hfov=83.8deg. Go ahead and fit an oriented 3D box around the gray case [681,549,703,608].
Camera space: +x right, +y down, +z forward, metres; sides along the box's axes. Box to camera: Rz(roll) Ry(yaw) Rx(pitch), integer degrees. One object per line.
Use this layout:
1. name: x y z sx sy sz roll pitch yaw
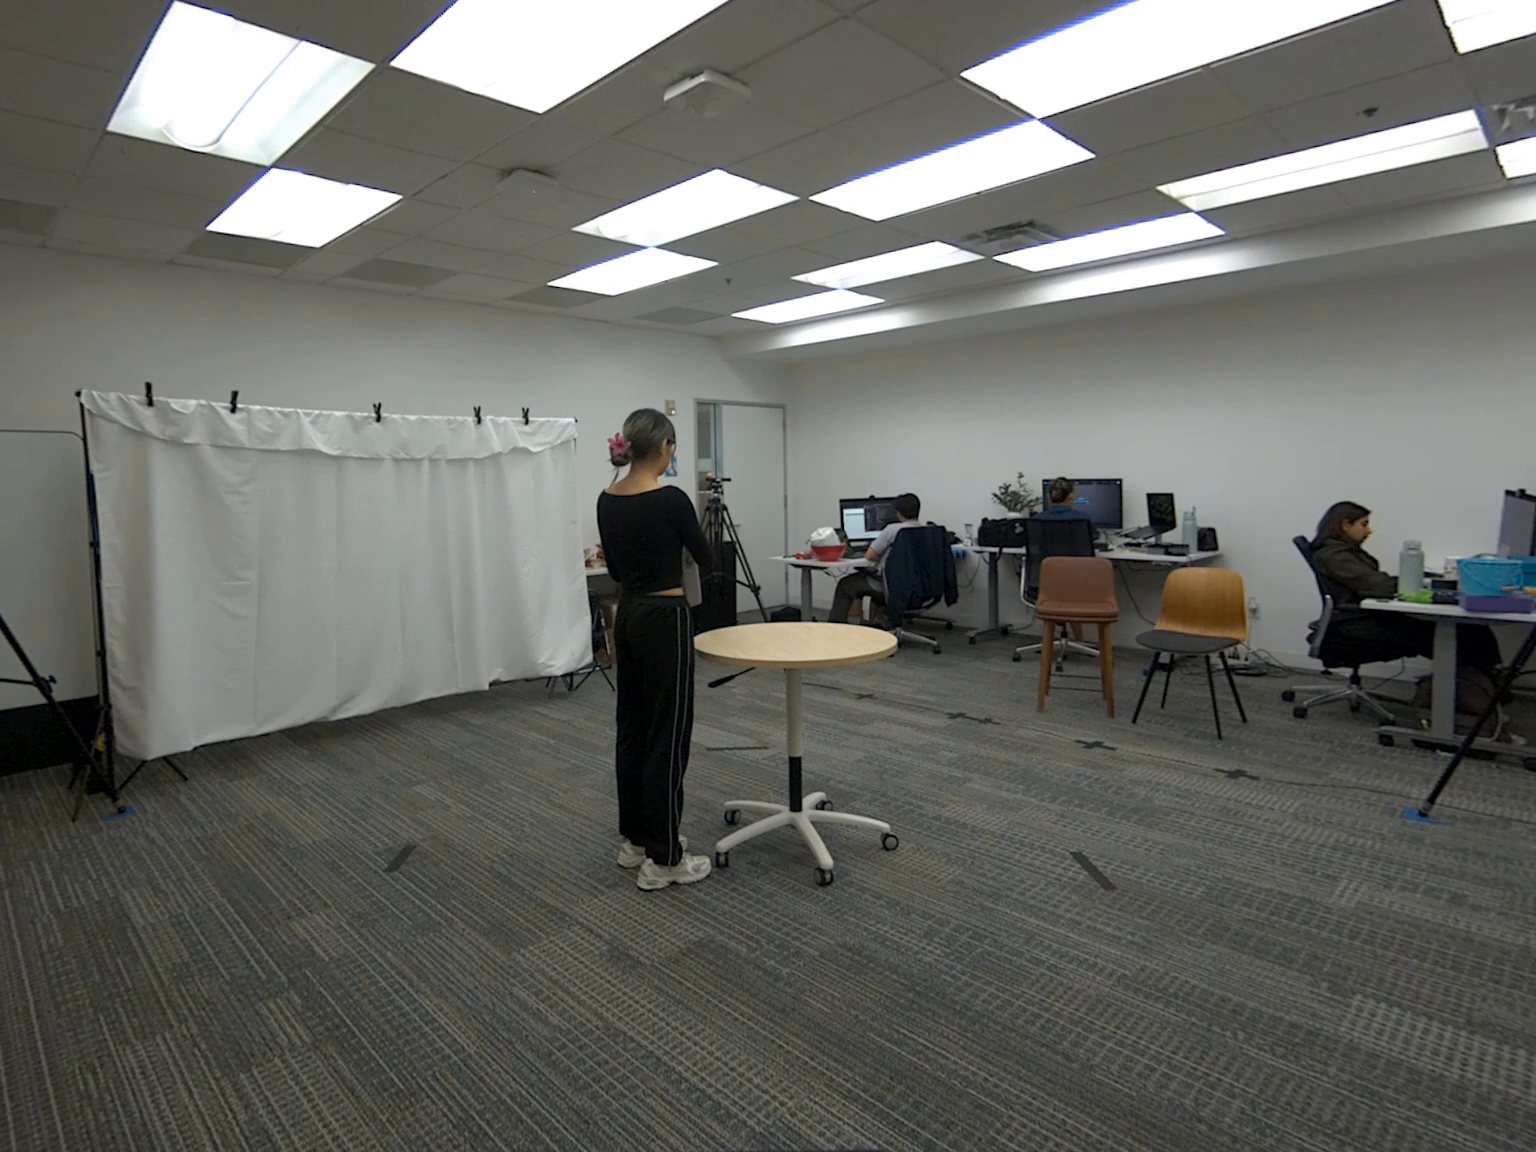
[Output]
1. gray case: -0.353 -0.026 3.416 0.103 0.256 0.265 -10 20 -19
